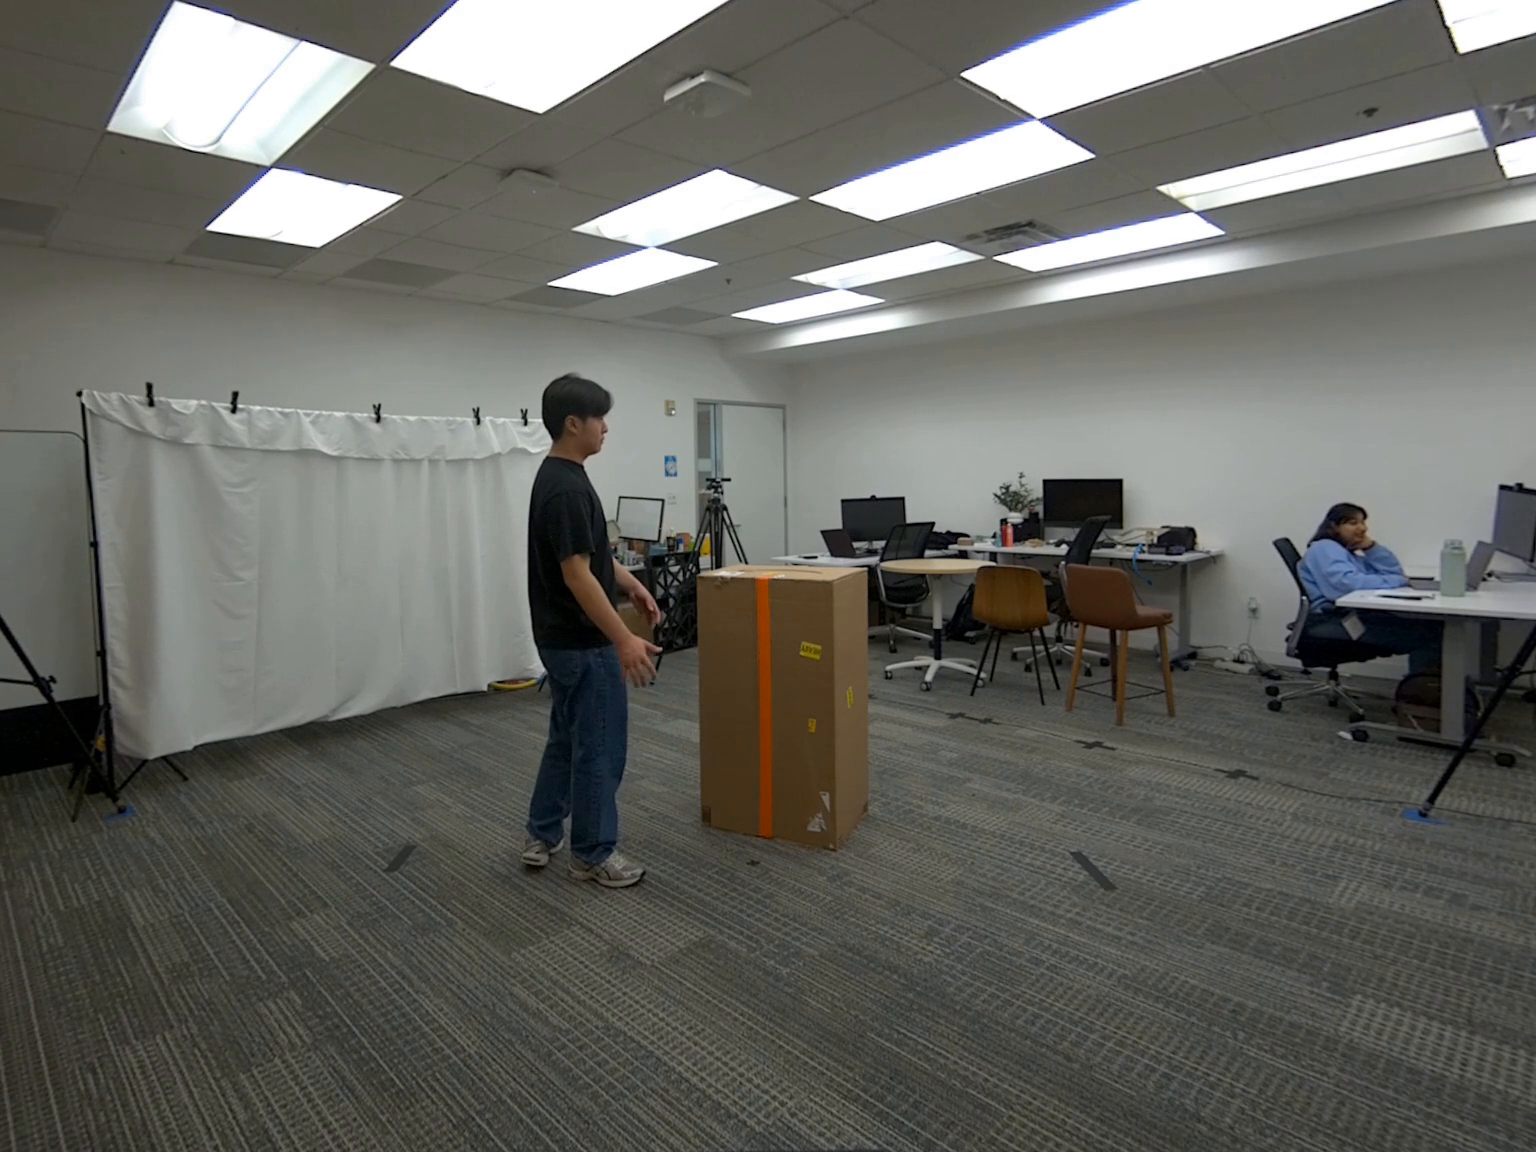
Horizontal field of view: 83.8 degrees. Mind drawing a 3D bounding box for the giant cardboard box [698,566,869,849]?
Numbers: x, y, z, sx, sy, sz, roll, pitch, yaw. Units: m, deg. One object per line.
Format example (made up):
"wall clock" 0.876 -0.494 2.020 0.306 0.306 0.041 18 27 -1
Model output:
"giant cardboard box" 0.071 0.485 3.473 0.598 1.022 0.438 1 5 27
